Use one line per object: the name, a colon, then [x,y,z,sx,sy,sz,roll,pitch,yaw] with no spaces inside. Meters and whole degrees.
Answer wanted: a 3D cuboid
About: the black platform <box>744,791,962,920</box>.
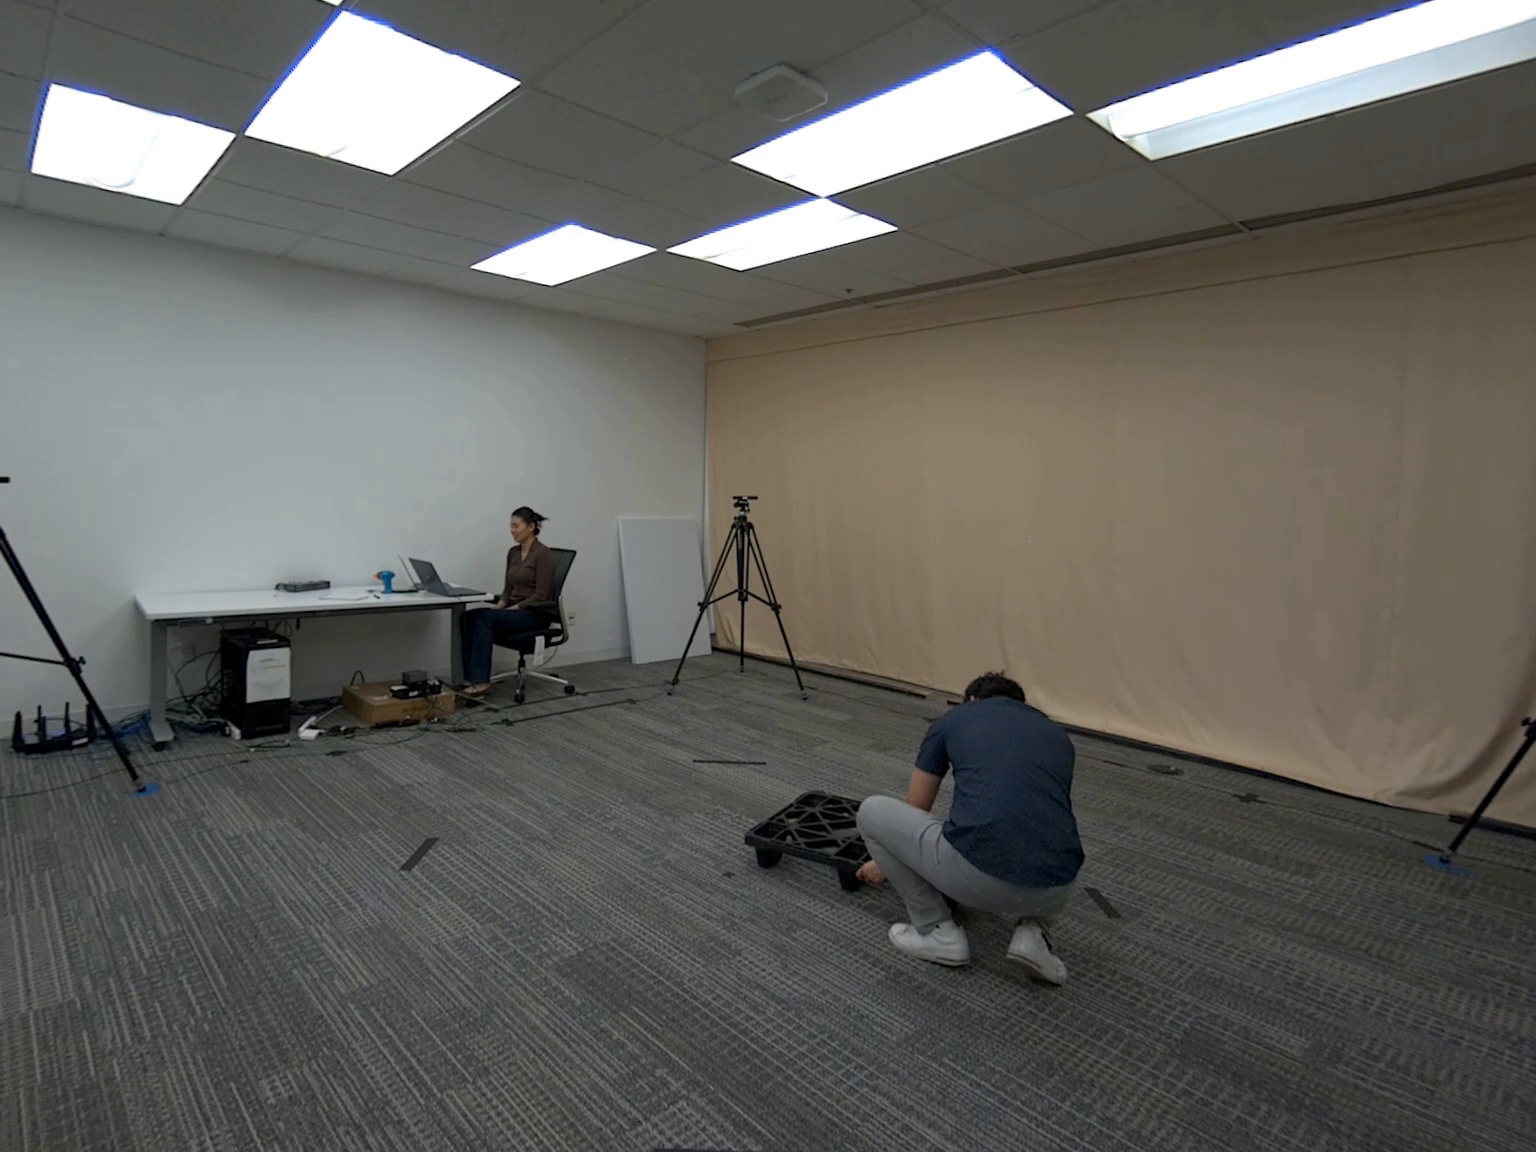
black platform: [0.381,1.036,3.201,0.823,0.143,0.594,5,5,28]
